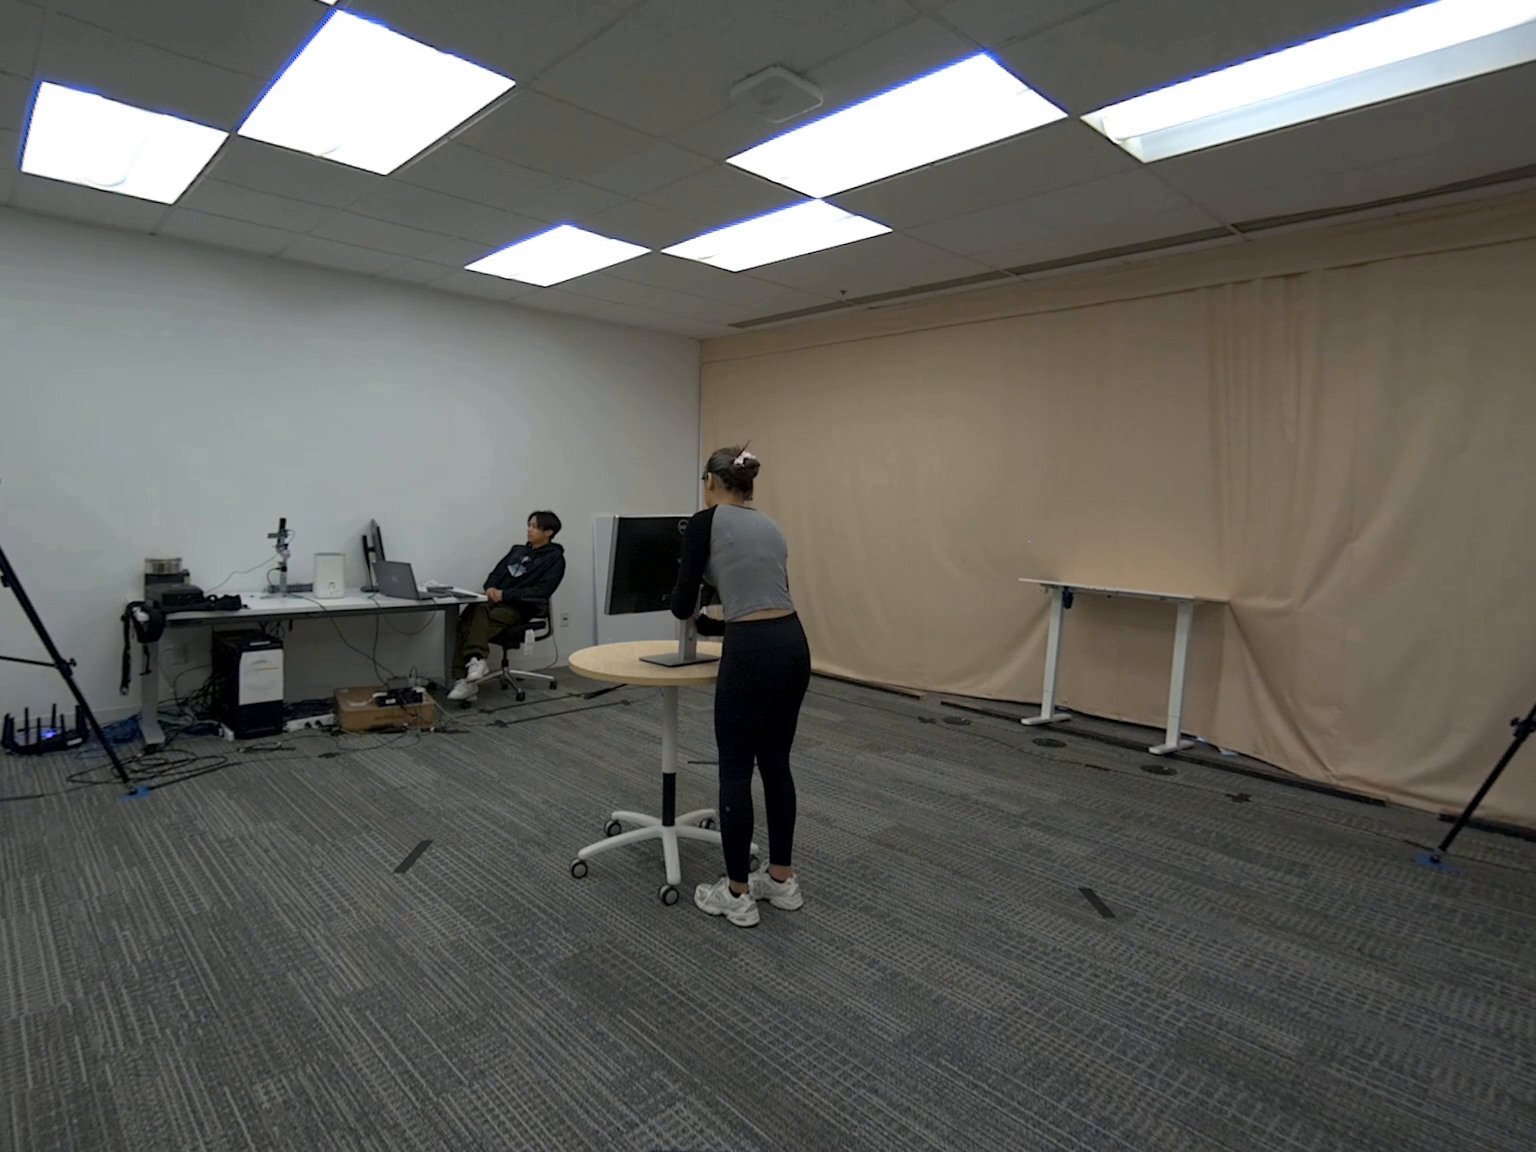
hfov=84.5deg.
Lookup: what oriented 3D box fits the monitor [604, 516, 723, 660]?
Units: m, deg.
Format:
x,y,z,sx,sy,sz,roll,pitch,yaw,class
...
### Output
x,y,z,sx,sy,sz,roll,pitch,yaw,class
-0.327,0.049,3.107,0.527,0.522,0.191,-3,3,-43,monitor
